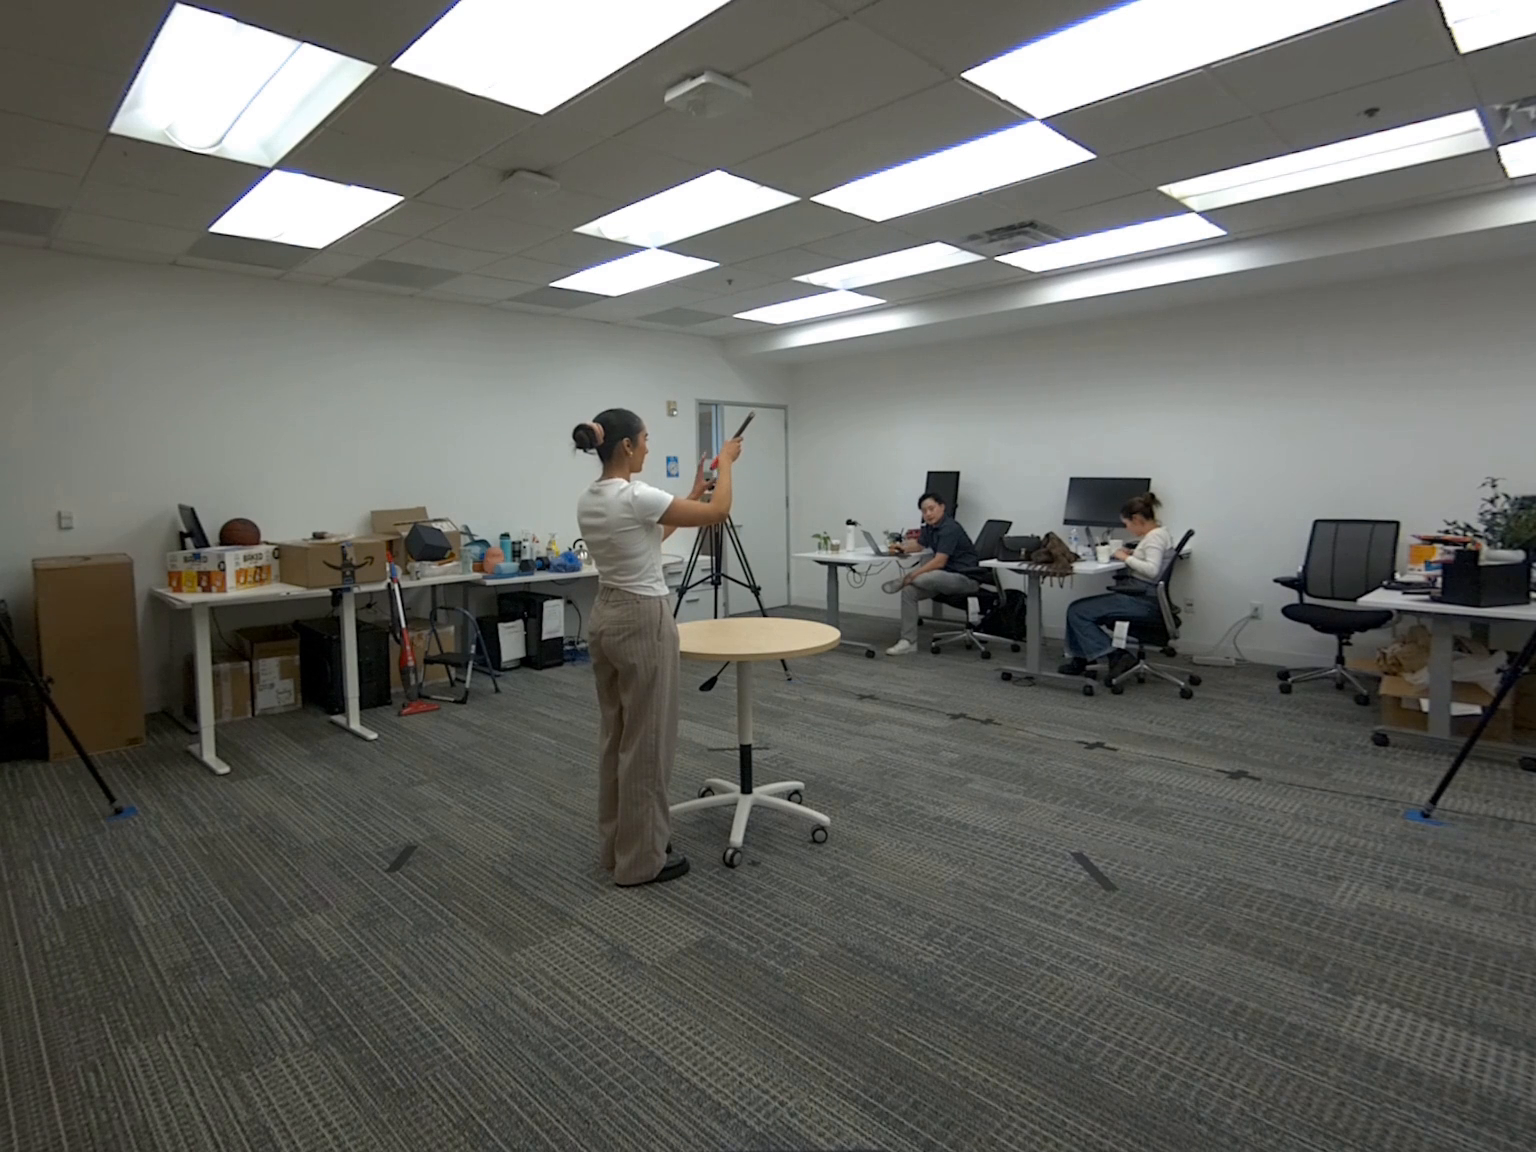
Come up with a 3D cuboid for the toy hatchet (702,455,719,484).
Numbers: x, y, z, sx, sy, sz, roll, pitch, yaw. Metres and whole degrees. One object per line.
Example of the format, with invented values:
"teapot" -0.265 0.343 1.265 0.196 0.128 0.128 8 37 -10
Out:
"toy hatchet" -0.143 -0.487 3.140 0.030 0.268 0.131 37 36 1
